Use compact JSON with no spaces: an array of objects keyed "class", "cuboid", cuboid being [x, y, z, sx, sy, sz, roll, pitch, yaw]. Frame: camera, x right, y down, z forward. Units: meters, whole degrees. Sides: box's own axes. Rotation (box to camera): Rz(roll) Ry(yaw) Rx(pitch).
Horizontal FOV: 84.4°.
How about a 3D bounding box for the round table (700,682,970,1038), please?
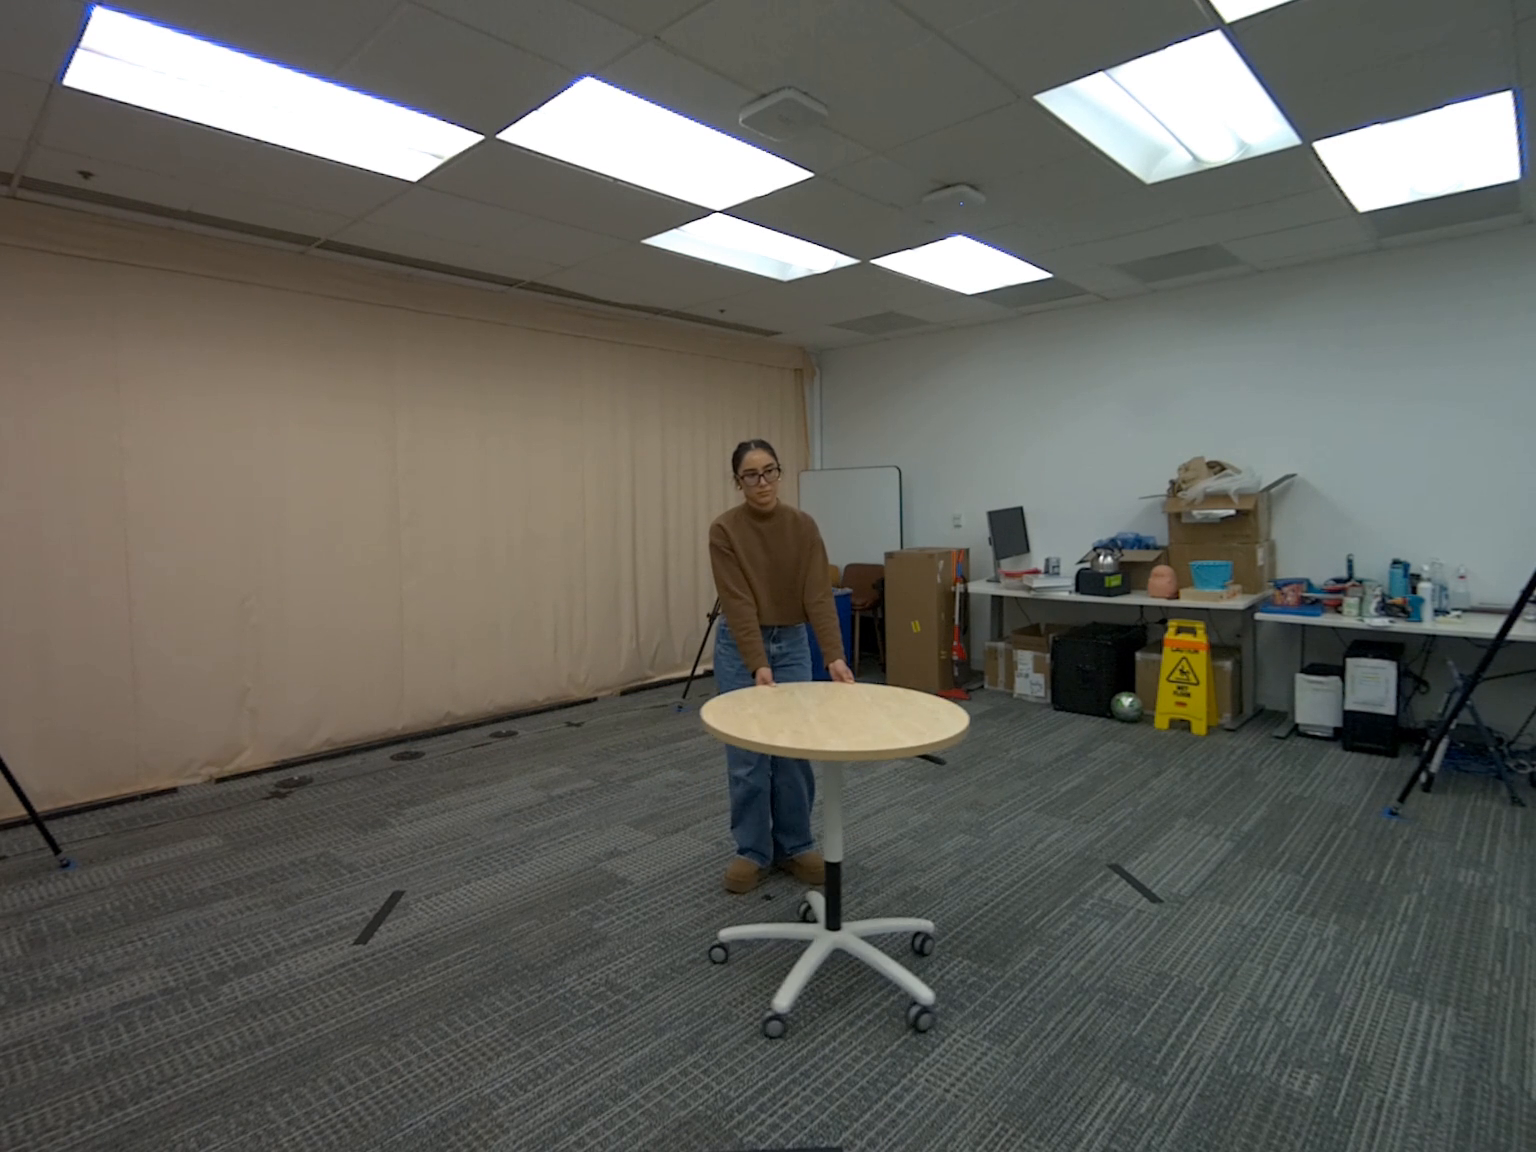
[{"class":"round table","cuboid":[0.175,0.780,2.489,0.784,0.785,0.788,0,4,-2]}]
